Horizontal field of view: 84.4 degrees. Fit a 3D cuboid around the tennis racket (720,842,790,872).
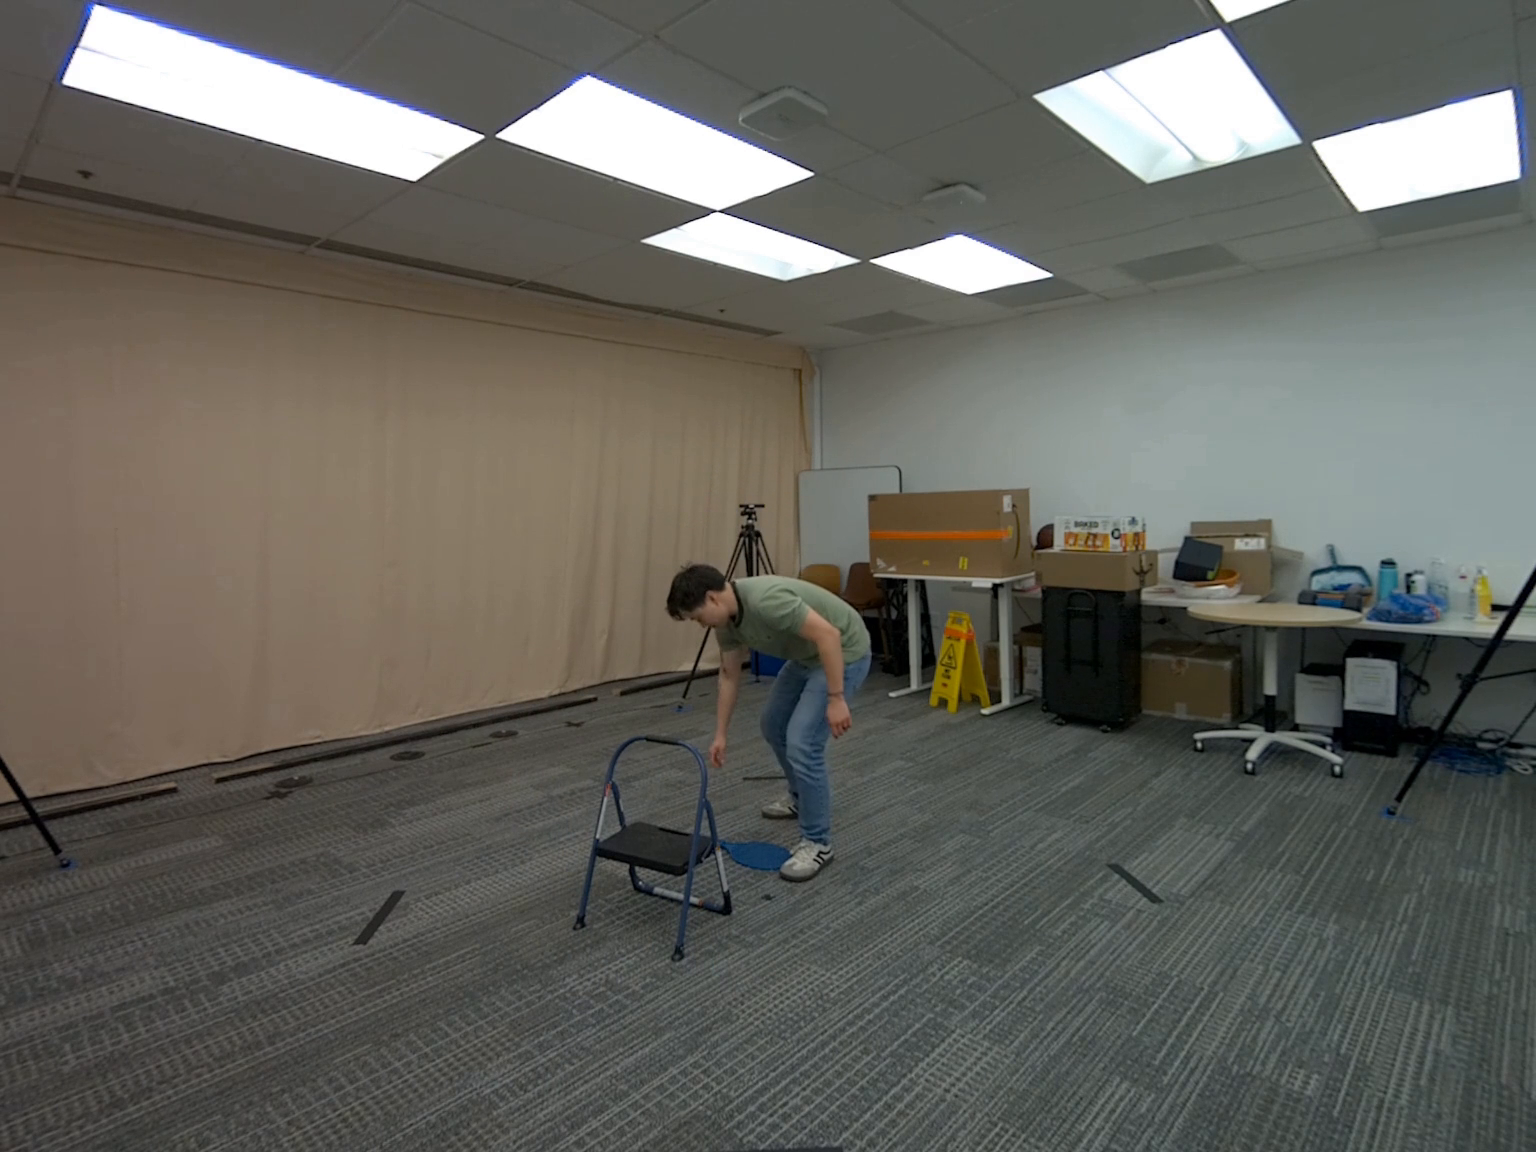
[{"bbox_3d":[-0.084,1.091,3.359,0.446,0.031,0.208,4,6,33],"label":"tennis racket"}]
